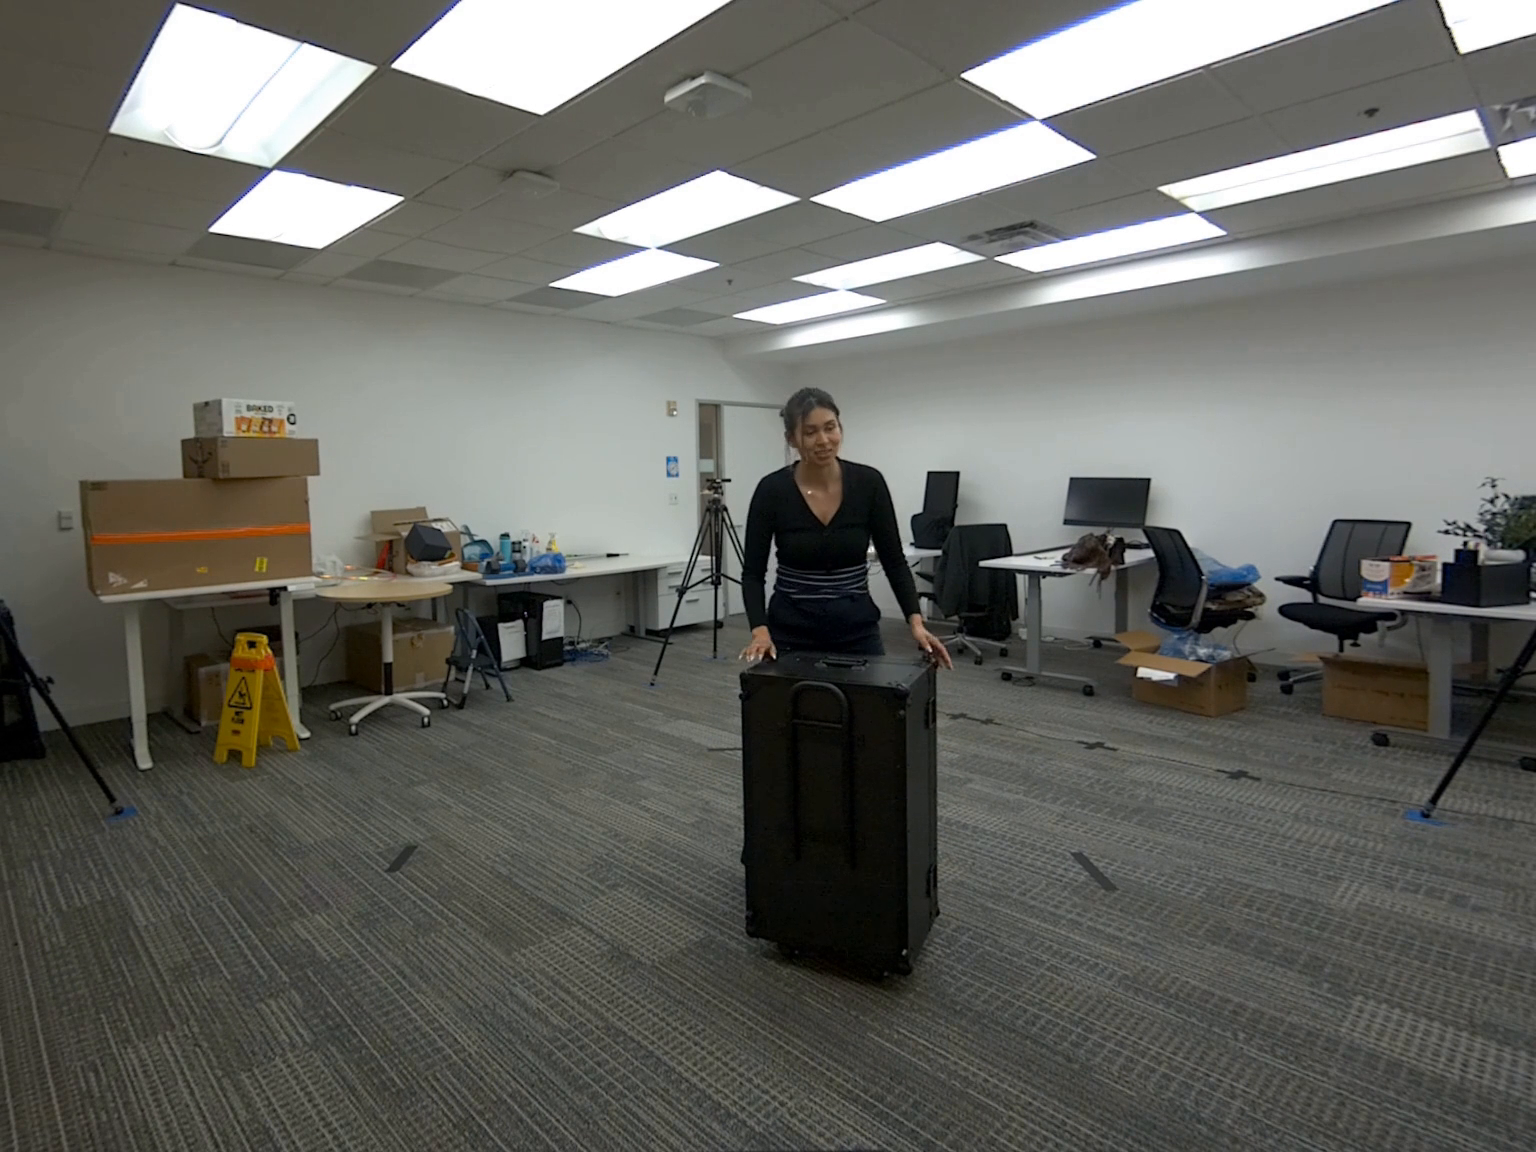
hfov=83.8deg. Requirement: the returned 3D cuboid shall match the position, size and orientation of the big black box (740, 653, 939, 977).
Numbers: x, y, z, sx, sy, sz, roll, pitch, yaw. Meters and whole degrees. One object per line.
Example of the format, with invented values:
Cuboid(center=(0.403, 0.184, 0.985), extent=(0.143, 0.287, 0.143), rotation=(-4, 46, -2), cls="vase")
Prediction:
Cuboid(center=(0.220, 0.687, 2.490), extent=(0.533, 0.857, 0.389), rotation=(1, 6, 26), cls="big black box")
